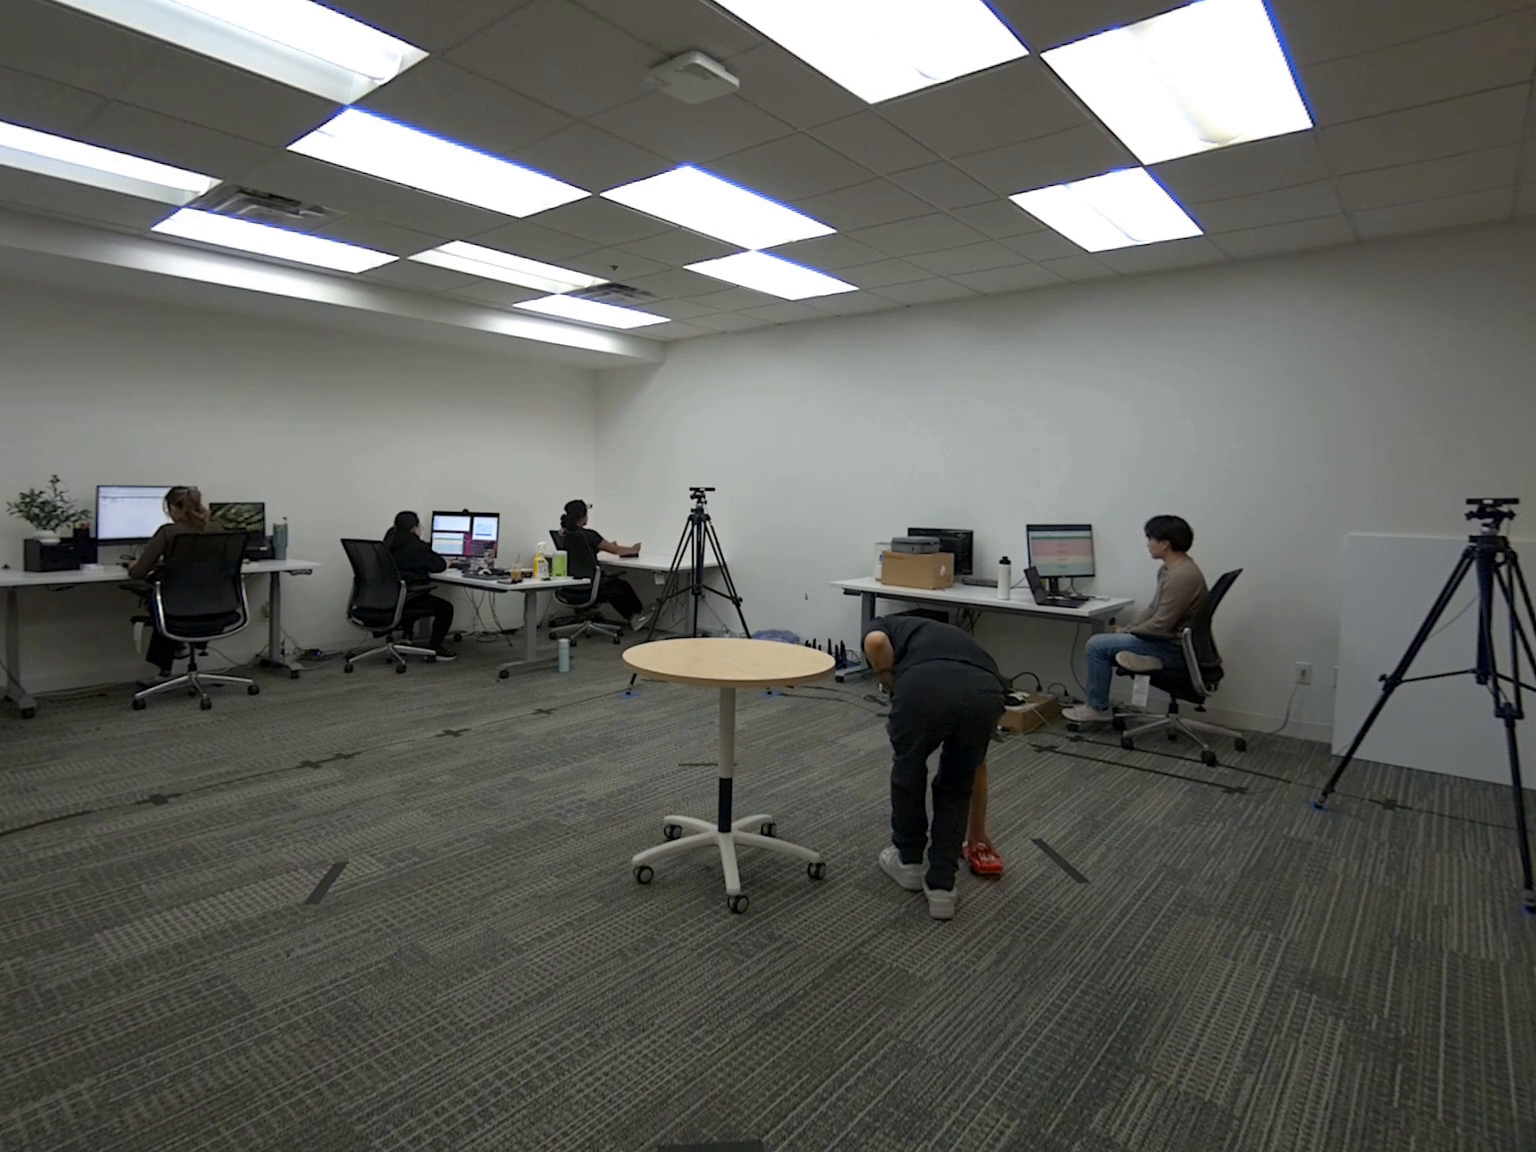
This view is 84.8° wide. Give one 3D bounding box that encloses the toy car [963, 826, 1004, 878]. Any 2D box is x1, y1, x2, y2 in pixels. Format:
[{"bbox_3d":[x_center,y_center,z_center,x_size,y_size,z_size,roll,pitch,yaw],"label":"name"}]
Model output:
[{"bbox_3d":[0.793,1.055,3.186,0.130,0.083,0.254,1,-4,-4],"label":"toy car"}]
